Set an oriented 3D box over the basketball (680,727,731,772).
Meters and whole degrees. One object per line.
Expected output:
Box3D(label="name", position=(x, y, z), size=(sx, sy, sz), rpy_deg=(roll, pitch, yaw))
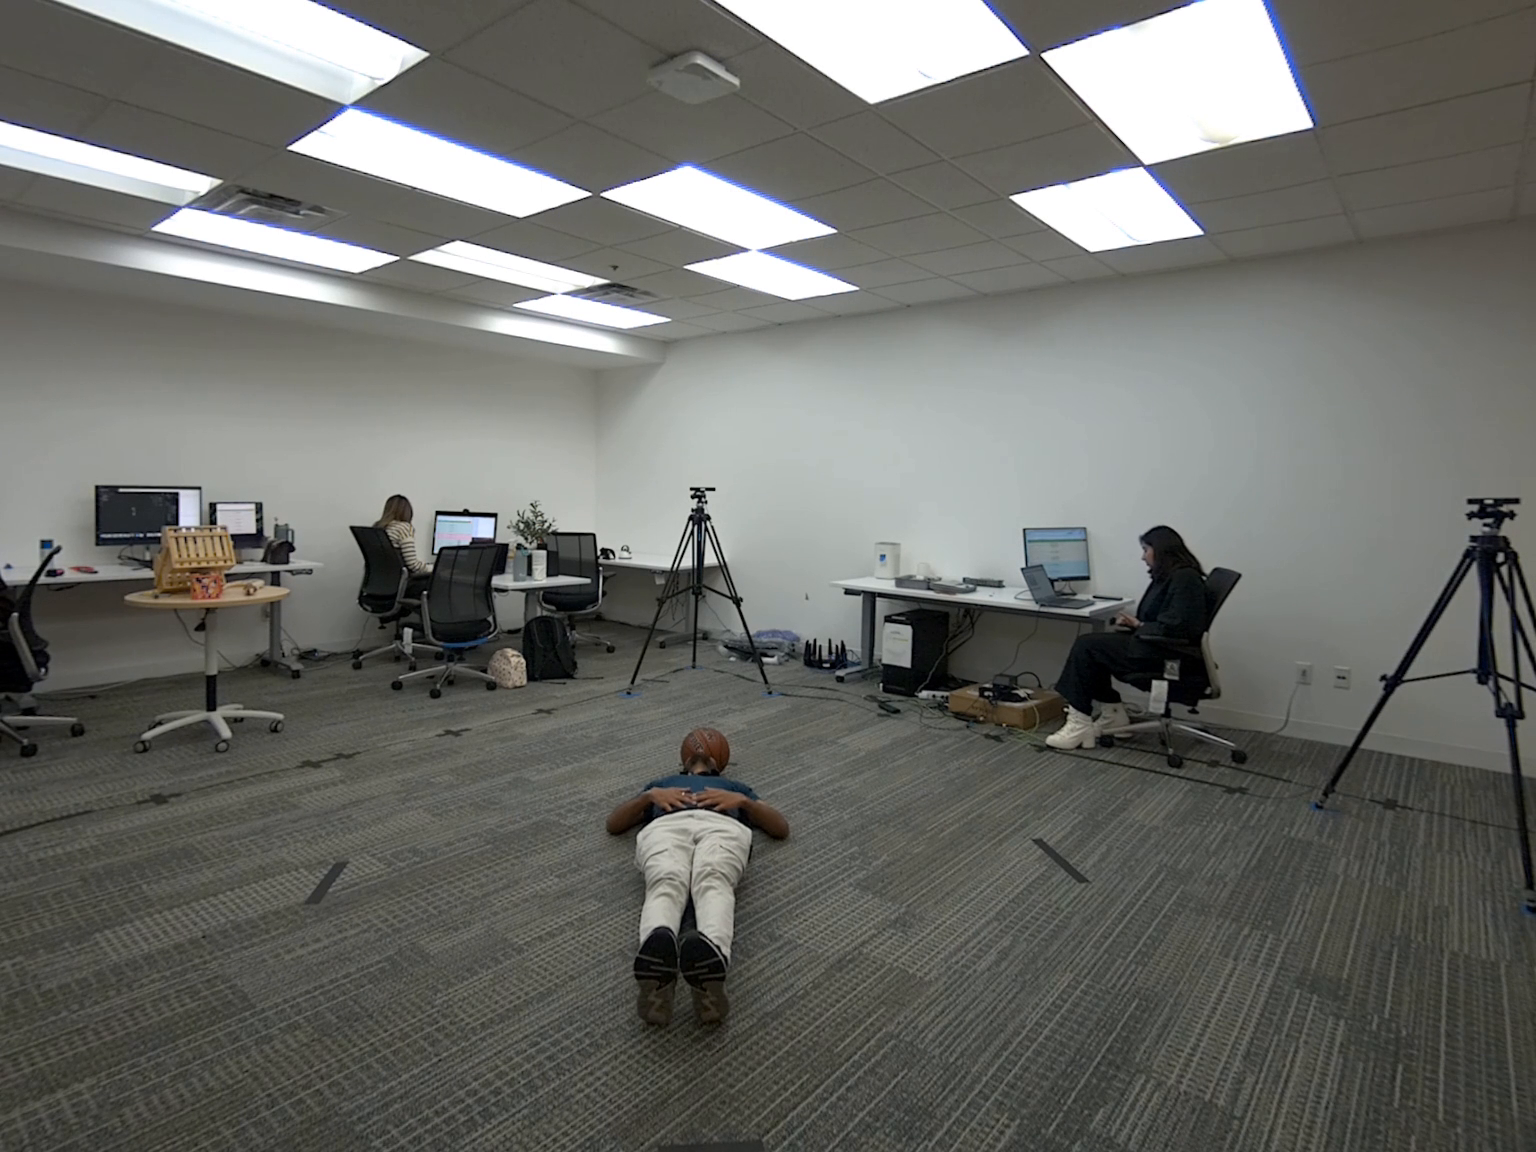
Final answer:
Box3D(label="basketball", position=(-0.311, 0.845, 4.102), size=(0.235, 0.235, 0.237), rpy_deg=(1, 4, -2))
